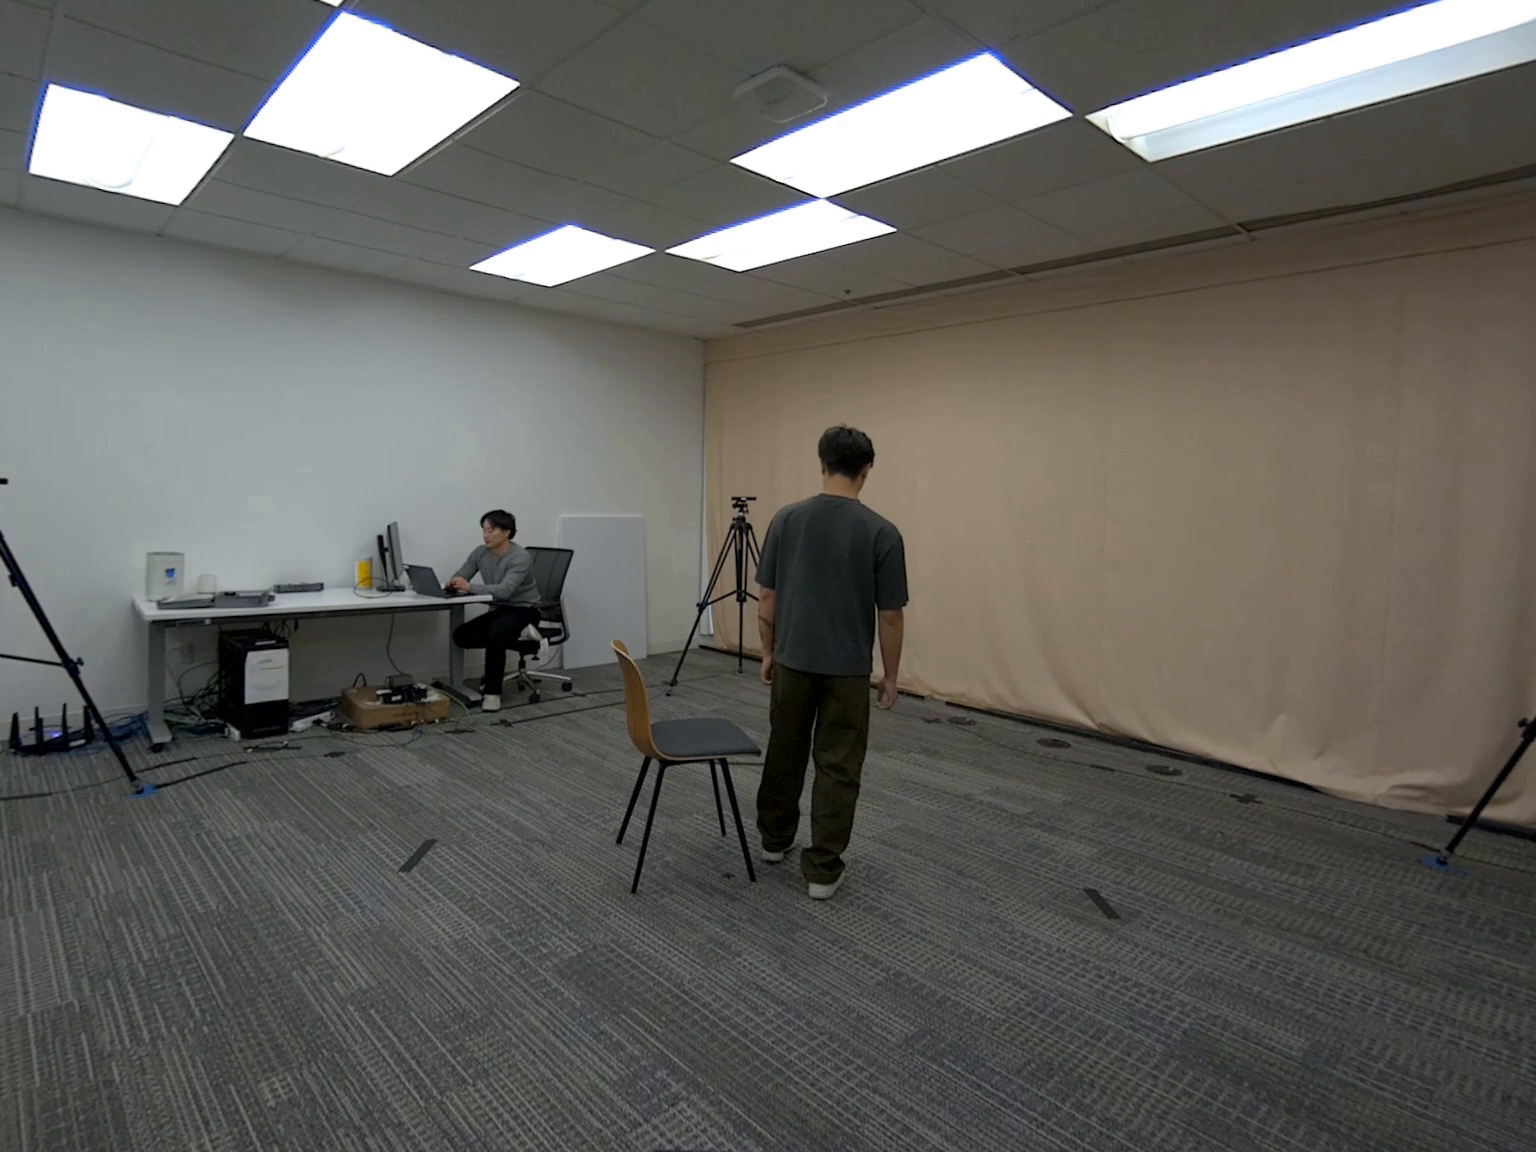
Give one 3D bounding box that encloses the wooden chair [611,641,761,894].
[{"bbox_3d":[-0.313,0.663,3.186,0.517,0.875,0.485,-3,4,-16],"label":"wooden chair"}]
